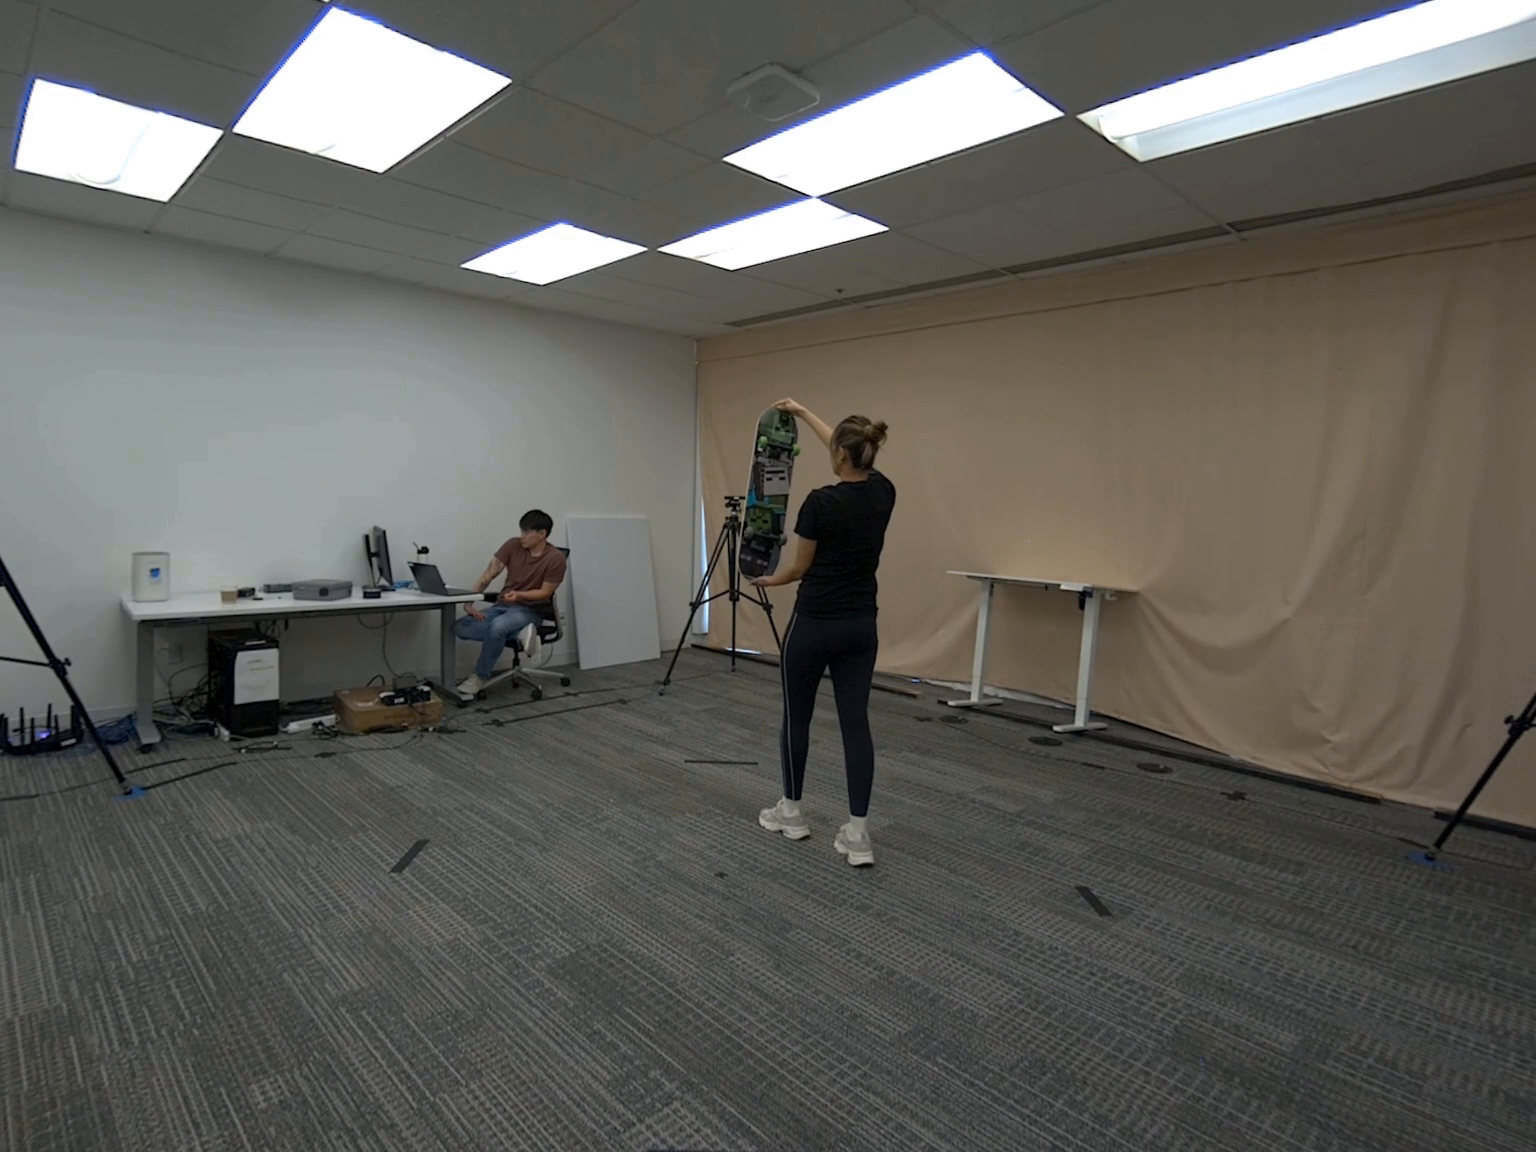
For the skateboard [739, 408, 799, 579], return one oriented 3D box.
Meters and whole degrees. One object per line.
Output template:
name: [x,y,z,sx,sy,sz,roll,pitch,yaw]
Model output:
skateboard: [0.003,-0.363,3.648,0.191,0.789,0.111,9,-8,-16]
